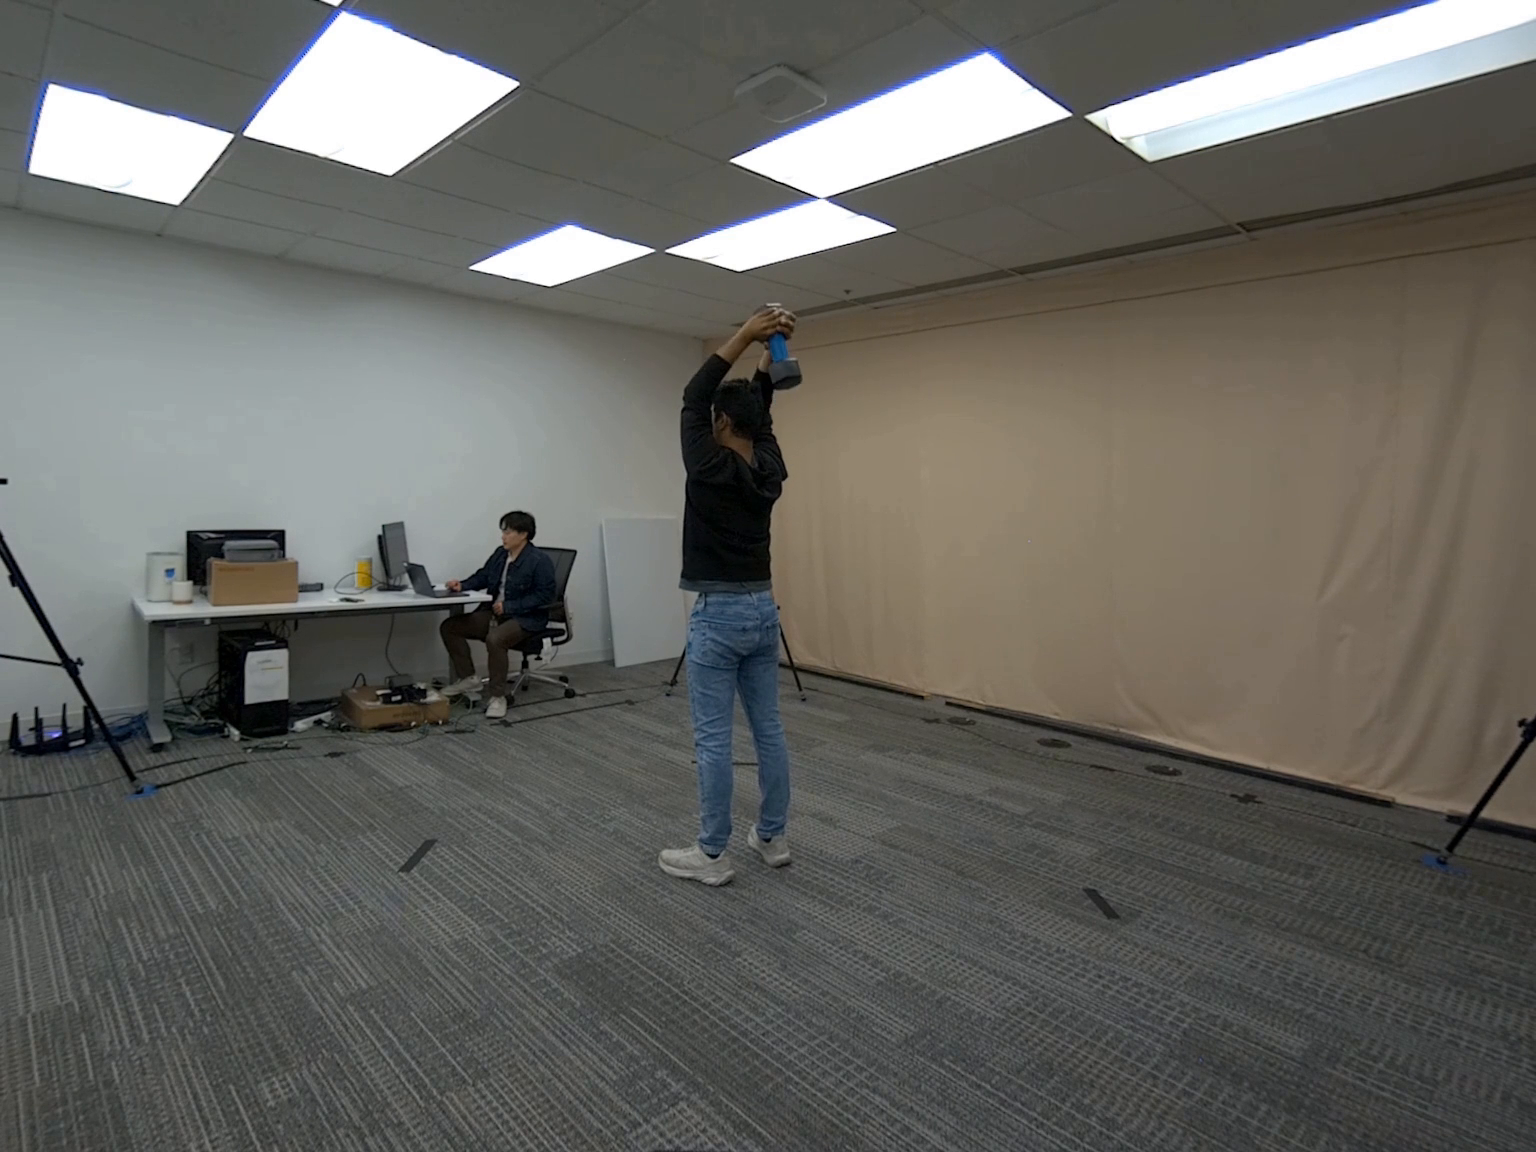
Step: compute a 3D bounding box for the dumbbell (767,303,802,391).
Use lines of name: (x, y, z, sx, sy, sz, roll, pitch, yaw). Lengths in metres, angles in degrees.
dumbbell: (0.025, -0.800, 2.989, 0.121, 0.296, 0.109, -9, -11, -26)
